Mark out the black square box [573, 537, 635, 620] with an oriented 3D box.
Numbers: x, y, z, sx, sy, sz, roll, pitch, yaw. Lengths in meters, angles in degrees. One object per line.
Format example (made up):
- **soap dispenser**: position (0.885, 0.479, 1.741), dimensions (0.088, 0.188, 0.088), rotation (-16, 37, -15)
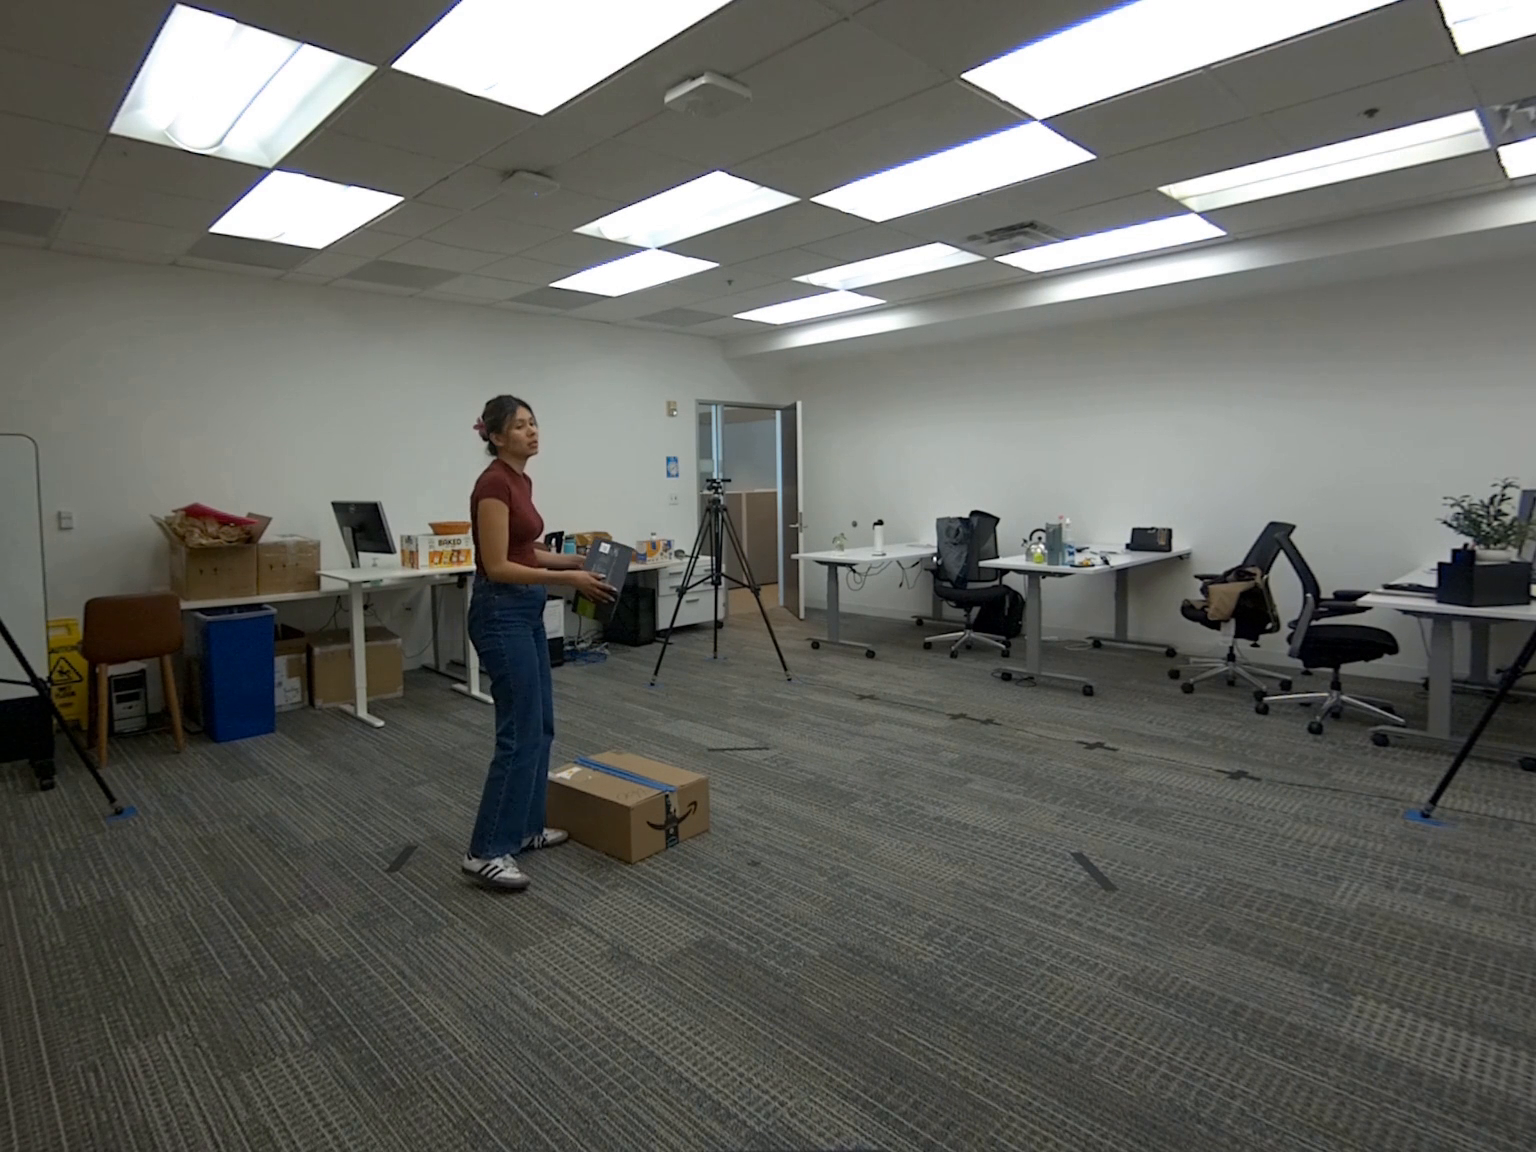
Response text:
- **black square box**: position (-0.626, 0.020, 3.190), dimensions (0.155, 0.221, 0.225), rotation (18, -39, -7)
